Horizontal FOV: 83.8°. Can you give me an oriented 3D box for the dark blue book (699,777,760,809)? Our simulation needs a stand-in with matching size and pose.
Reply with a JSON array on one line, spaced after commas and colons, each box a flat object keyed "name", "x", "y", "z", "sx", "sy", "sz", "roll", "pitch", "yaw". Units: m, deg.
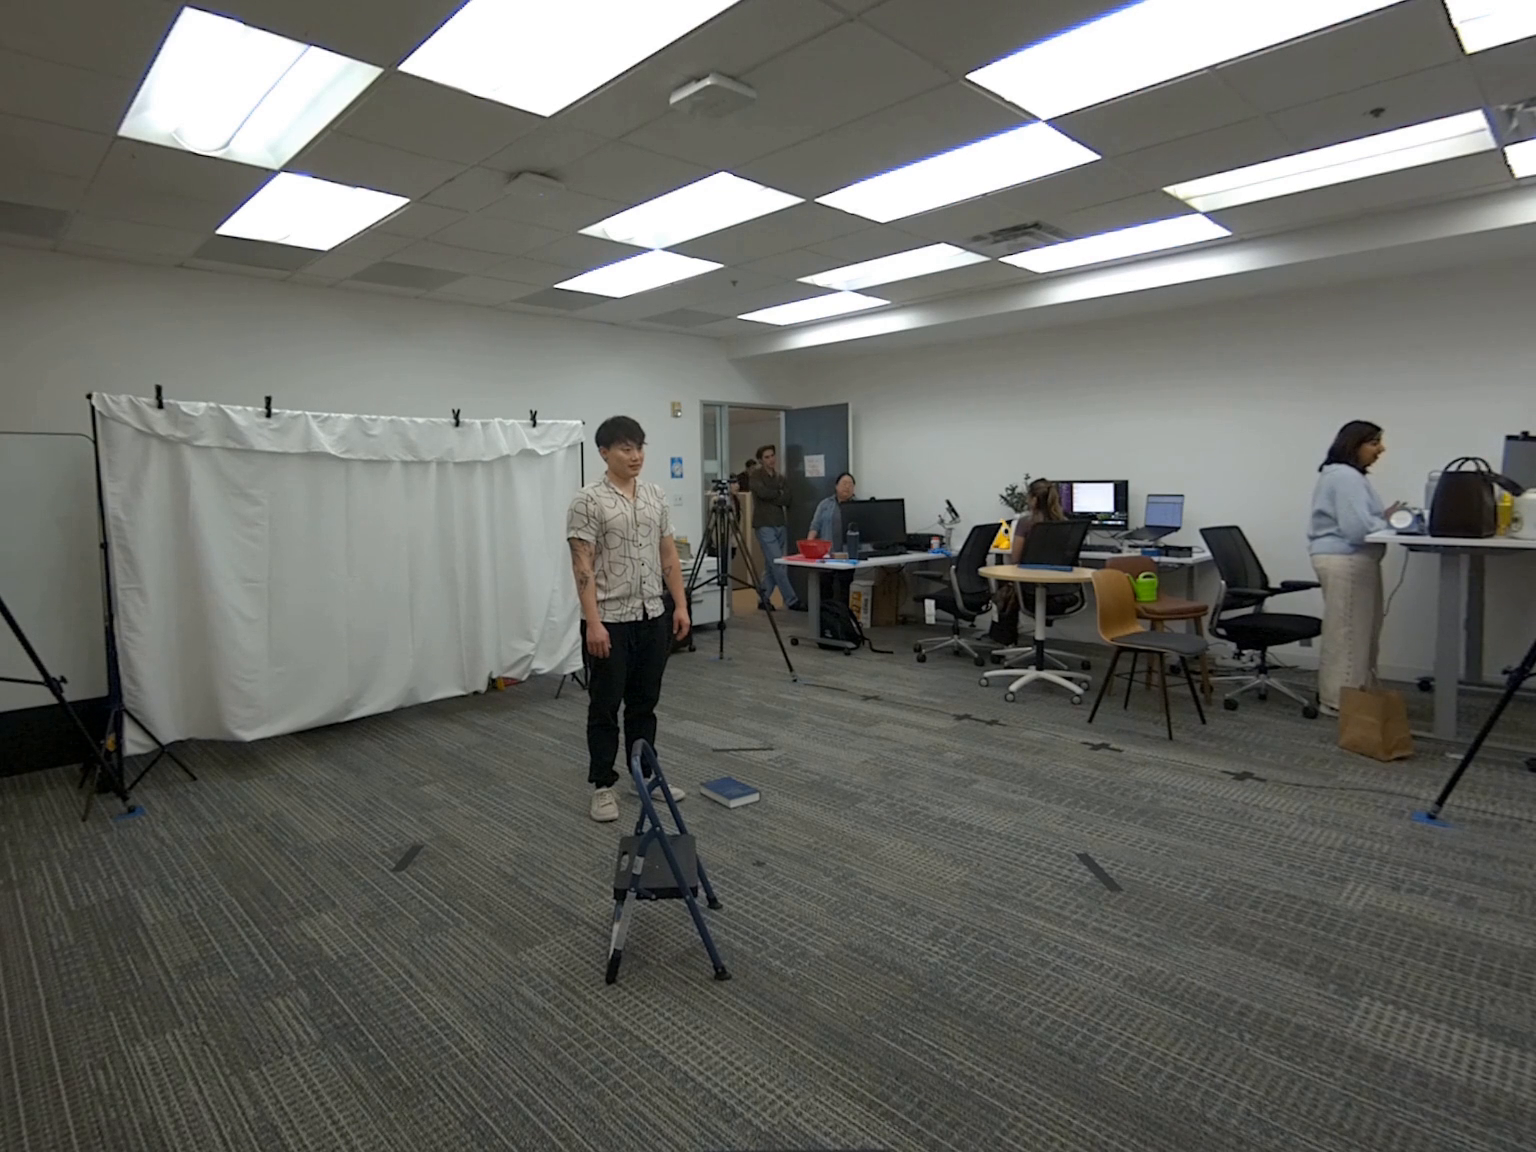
[{"name": "dark blue book", "x": -0.172, "y": 0.953, "z": 3.770, "sx": 0.159, "sy": 0.045, "sz": 0.252, "roll": -6, "pitch": 8, "yaw": -36}]
